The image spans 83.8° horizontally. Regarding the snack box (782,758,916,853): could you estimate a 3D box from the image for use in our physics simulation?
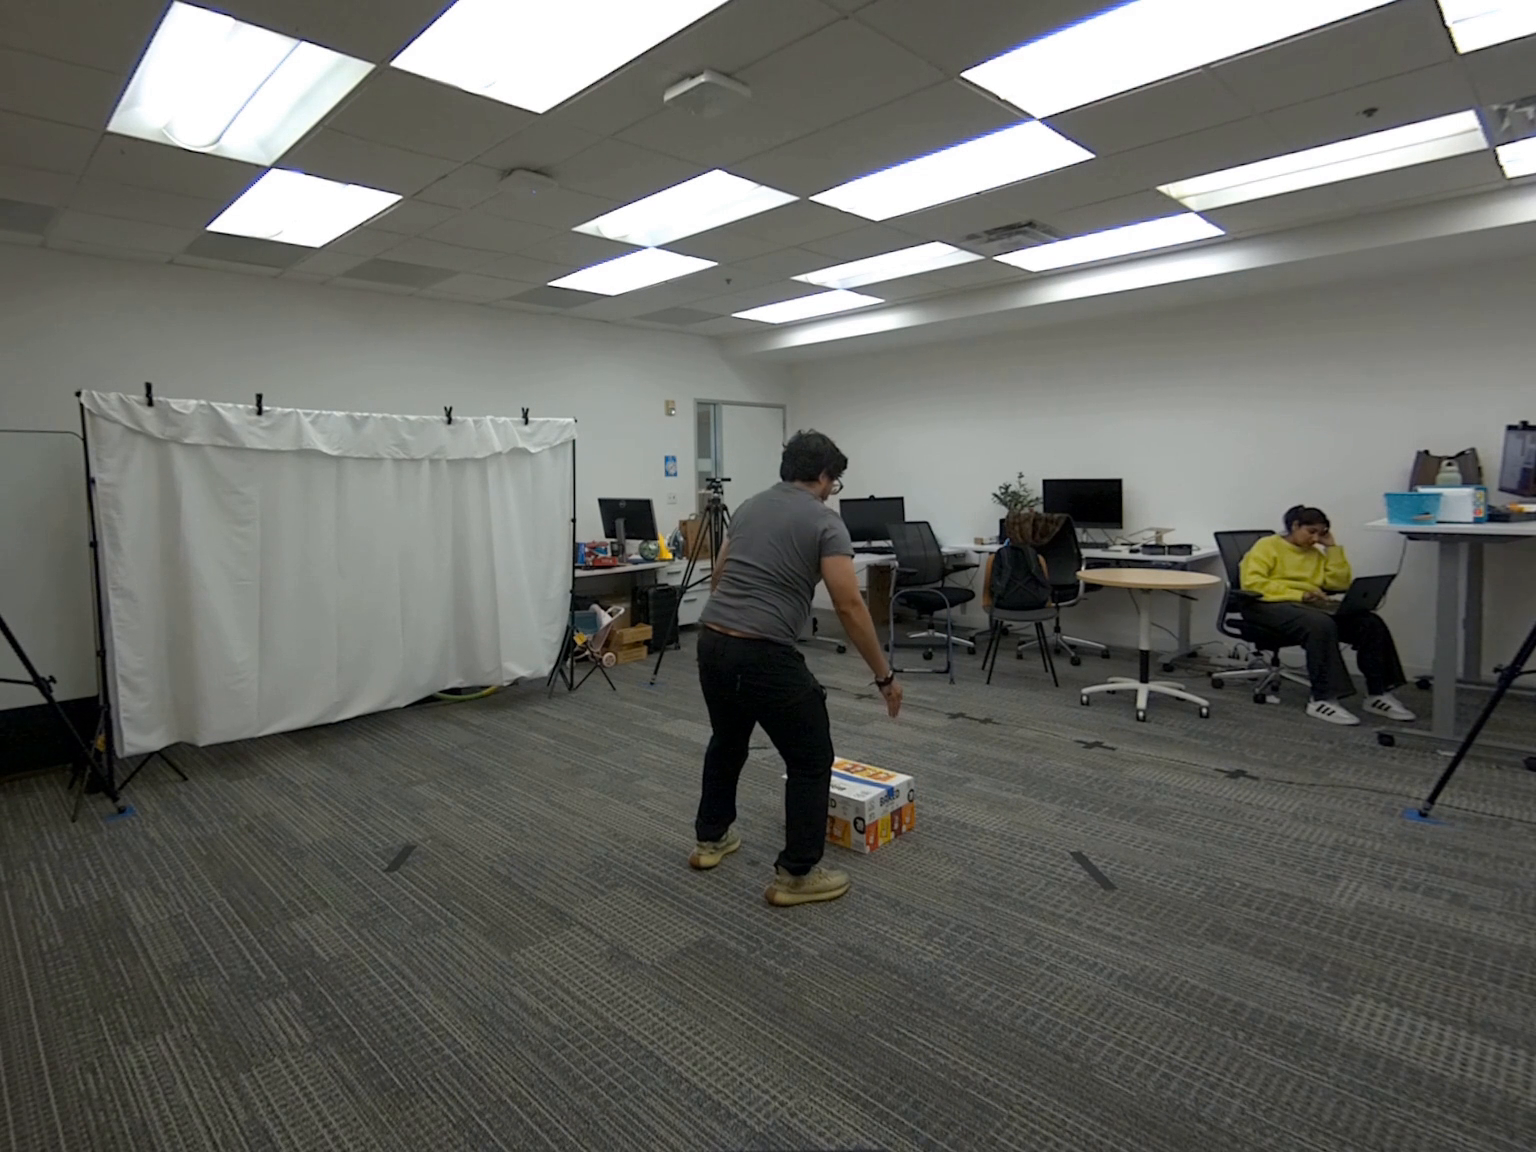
[{"bbox_3d":[0.319,0.901,3.409,0.418,0.205,0.331,4,8,42],"label":"snack box"}]
